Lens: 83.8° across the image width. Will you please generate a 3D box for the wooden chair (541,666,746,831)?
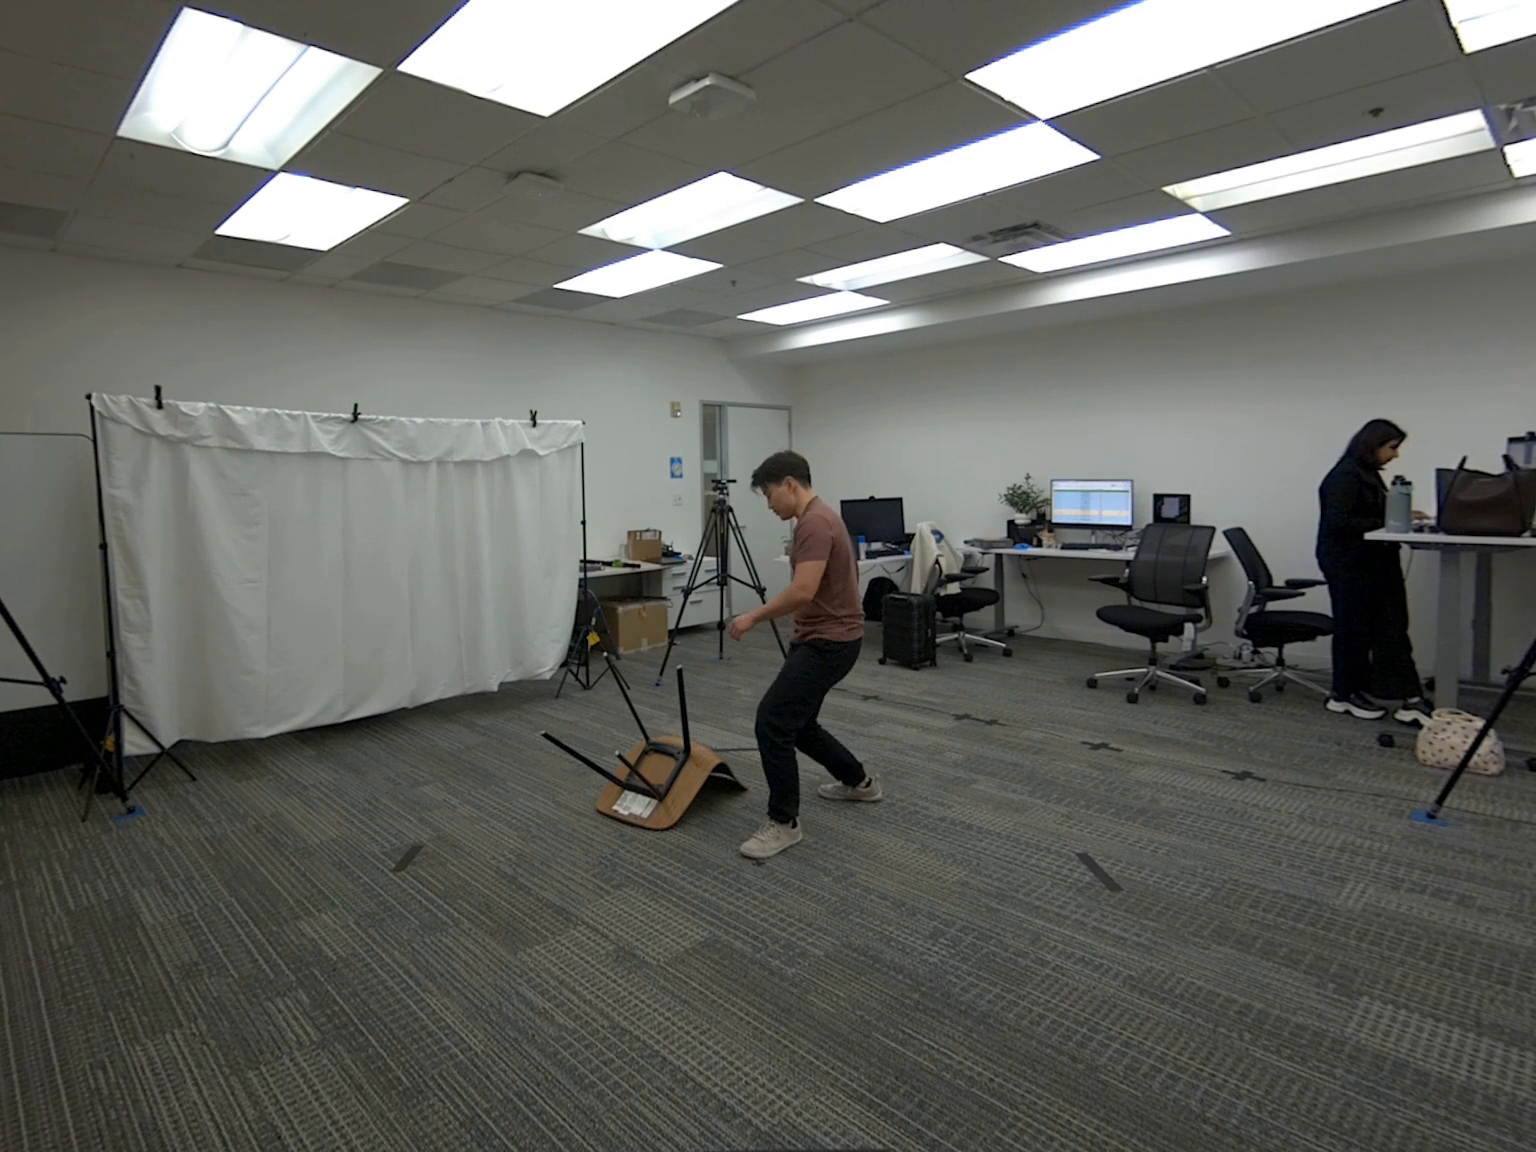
[{"bbox_3d":[-0.480,0.822,3.649,0.492,0.847,0.526,2,45,37],"label":"wooden chair"}]
